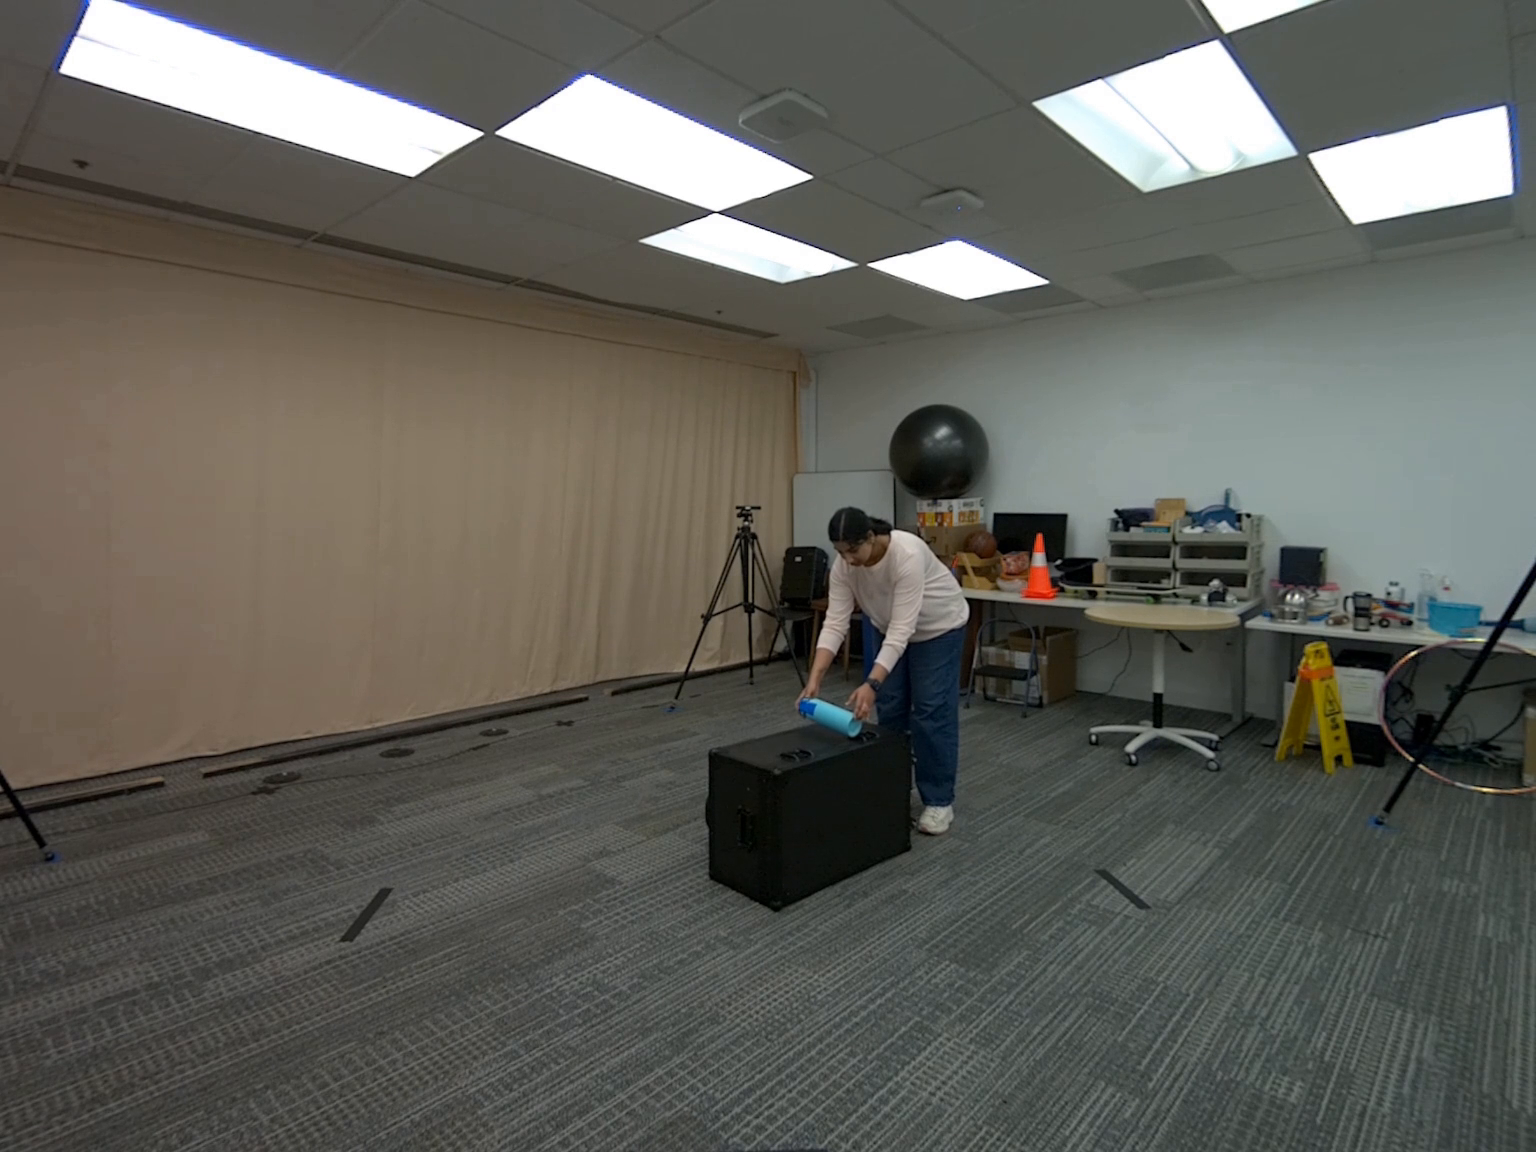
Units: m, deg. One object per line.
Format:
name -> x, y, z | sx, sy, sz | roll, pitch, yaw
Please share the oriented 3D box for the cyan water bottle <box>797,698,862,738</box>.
cyan water bottle -> 0.239, 0.547, 3.329 | 0.089, 0.092, 0.294 | -3, 14, -43
